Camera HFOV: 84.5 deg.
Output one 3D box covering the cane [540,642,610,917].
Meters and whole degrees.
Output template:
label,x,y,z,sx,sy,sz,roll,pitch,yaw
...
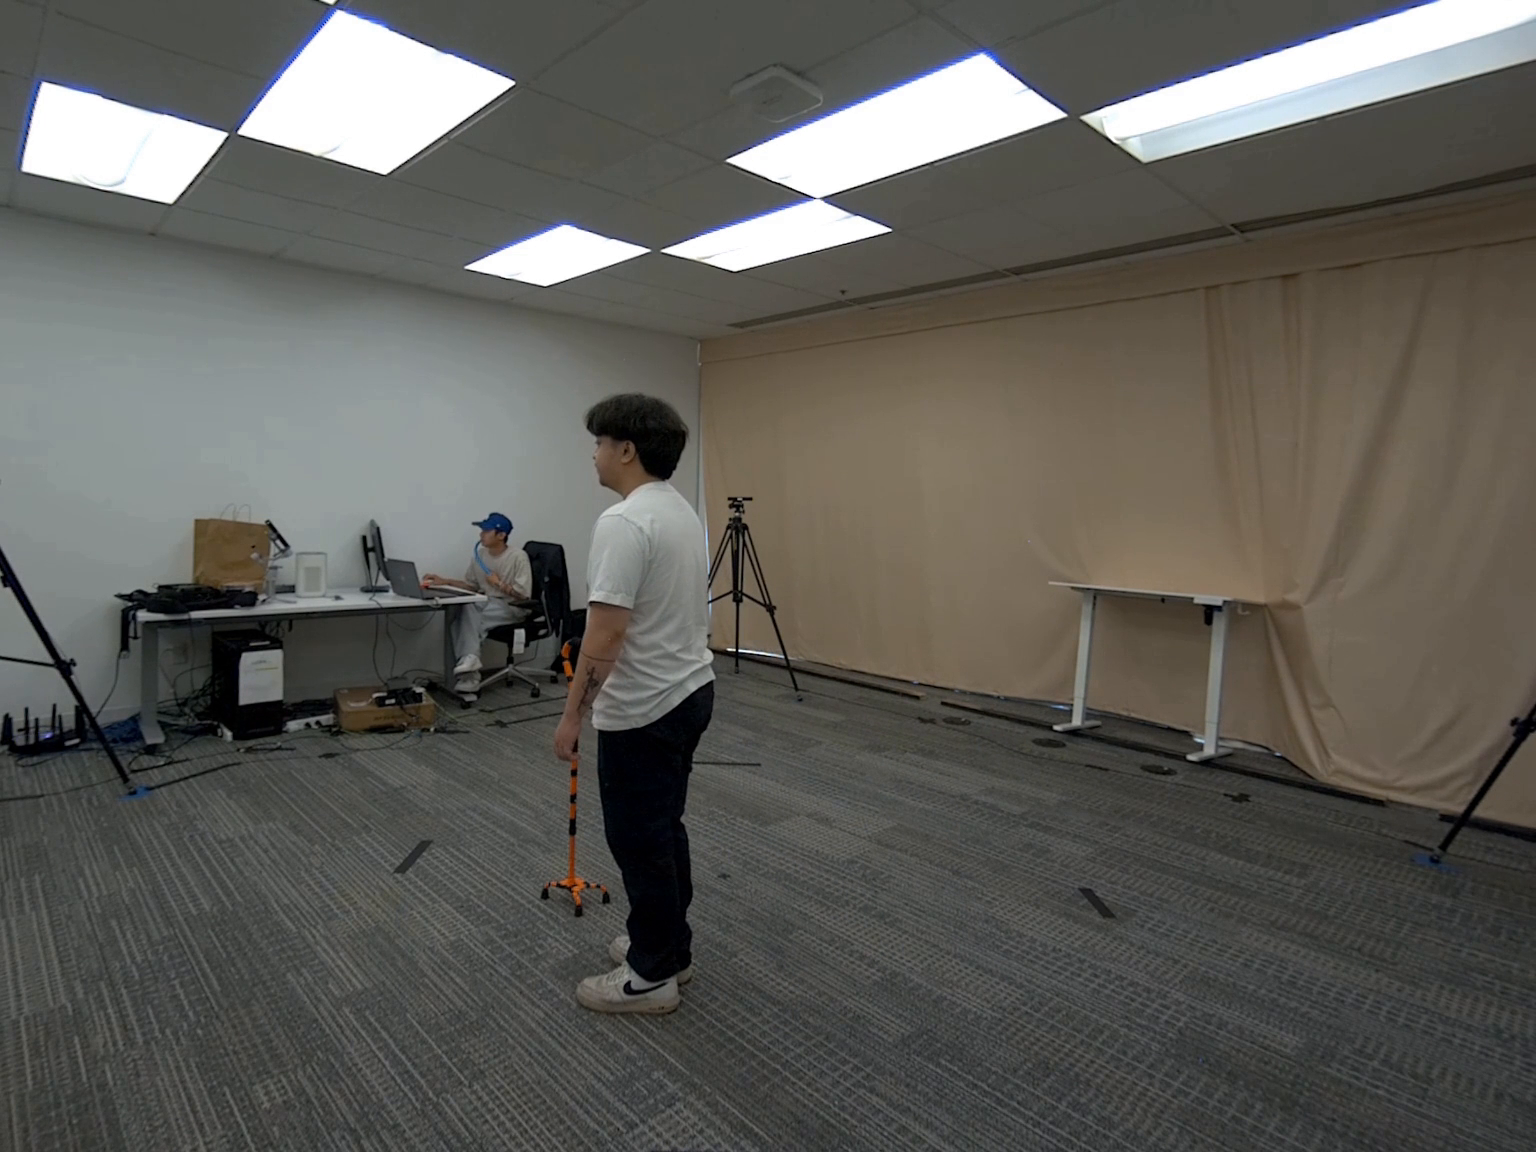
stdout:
label,x,y,z,sx,sy,sz,roll,pitch,yaw
cane,-0.656,0.666,2.869,0.211,0.906,0.148,4,4,41
